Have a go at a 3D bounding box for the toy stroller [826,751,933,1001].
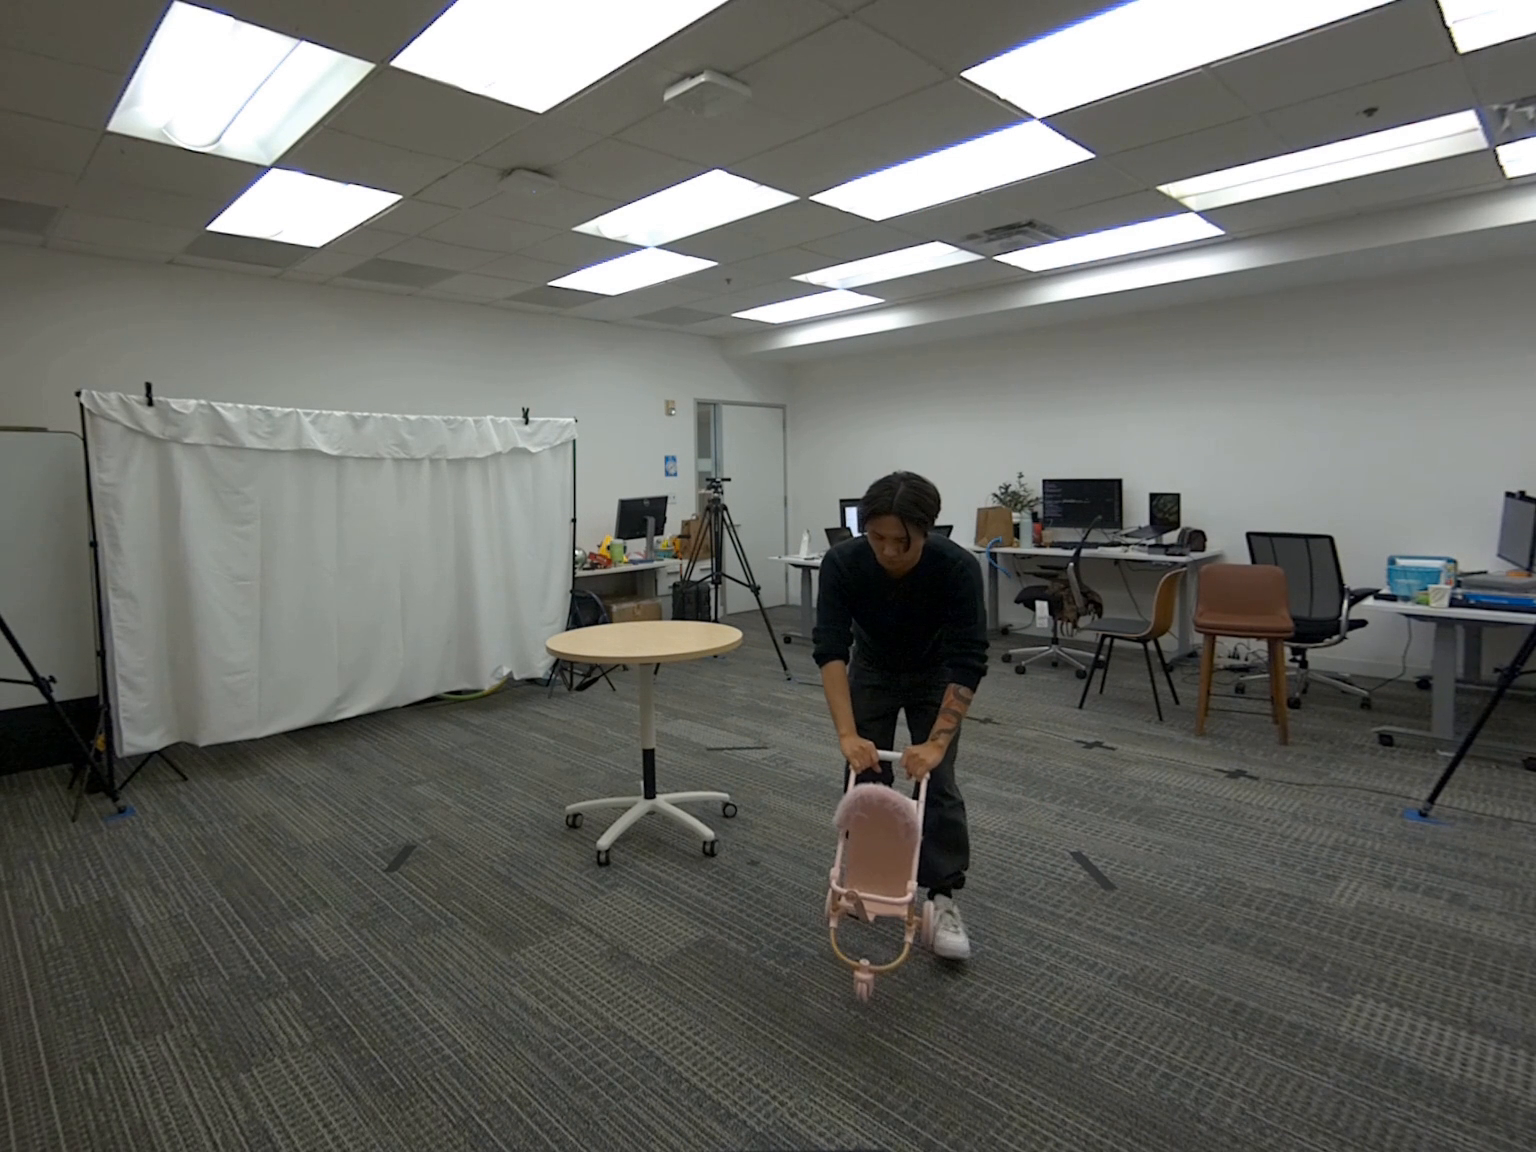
[{"bbox_3d":[0.281,0.753,2.163,0.287,0.534,0.334,3,2,22],"label":"toy stroller"}]
